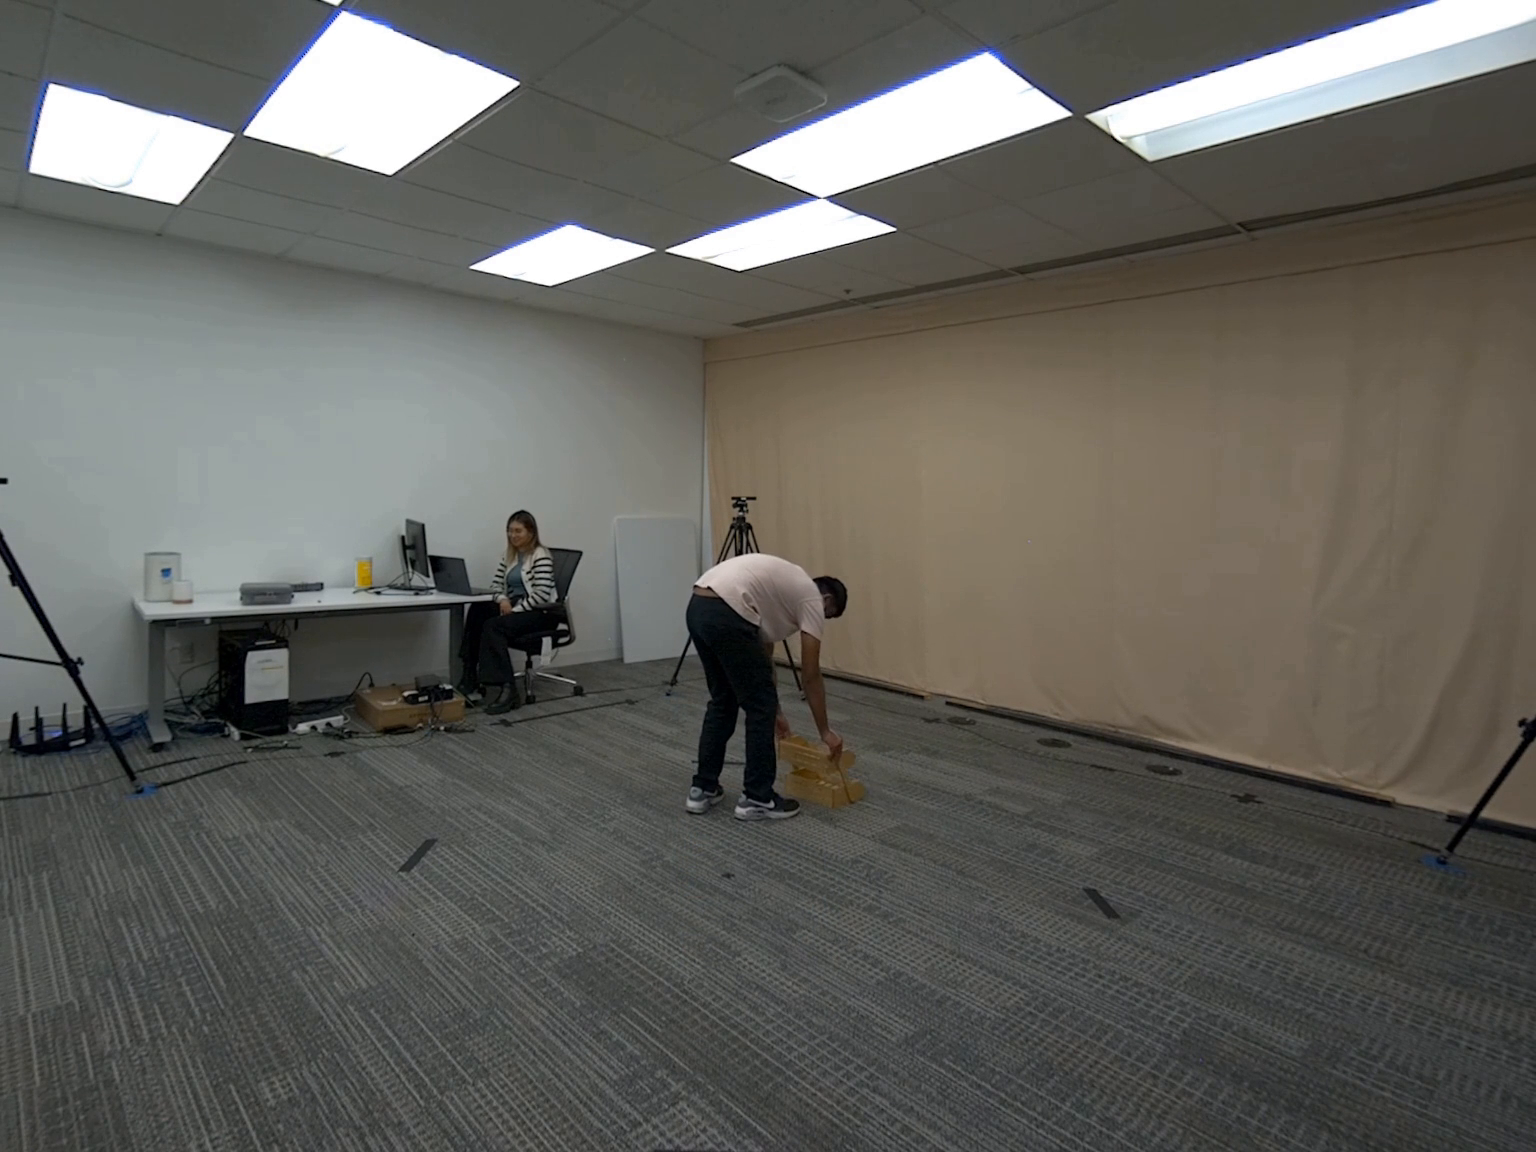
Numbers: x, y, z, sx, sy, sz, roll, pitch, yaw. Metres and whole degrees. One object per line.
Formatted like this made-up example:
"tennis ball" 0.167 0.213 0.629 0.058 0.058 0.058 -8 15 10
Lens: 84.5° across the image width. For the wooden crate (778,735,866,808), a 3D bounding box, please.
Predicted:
"wooden crate" 0.250 0.909 3.987 0.333 0.272 0.295 5 7 44
